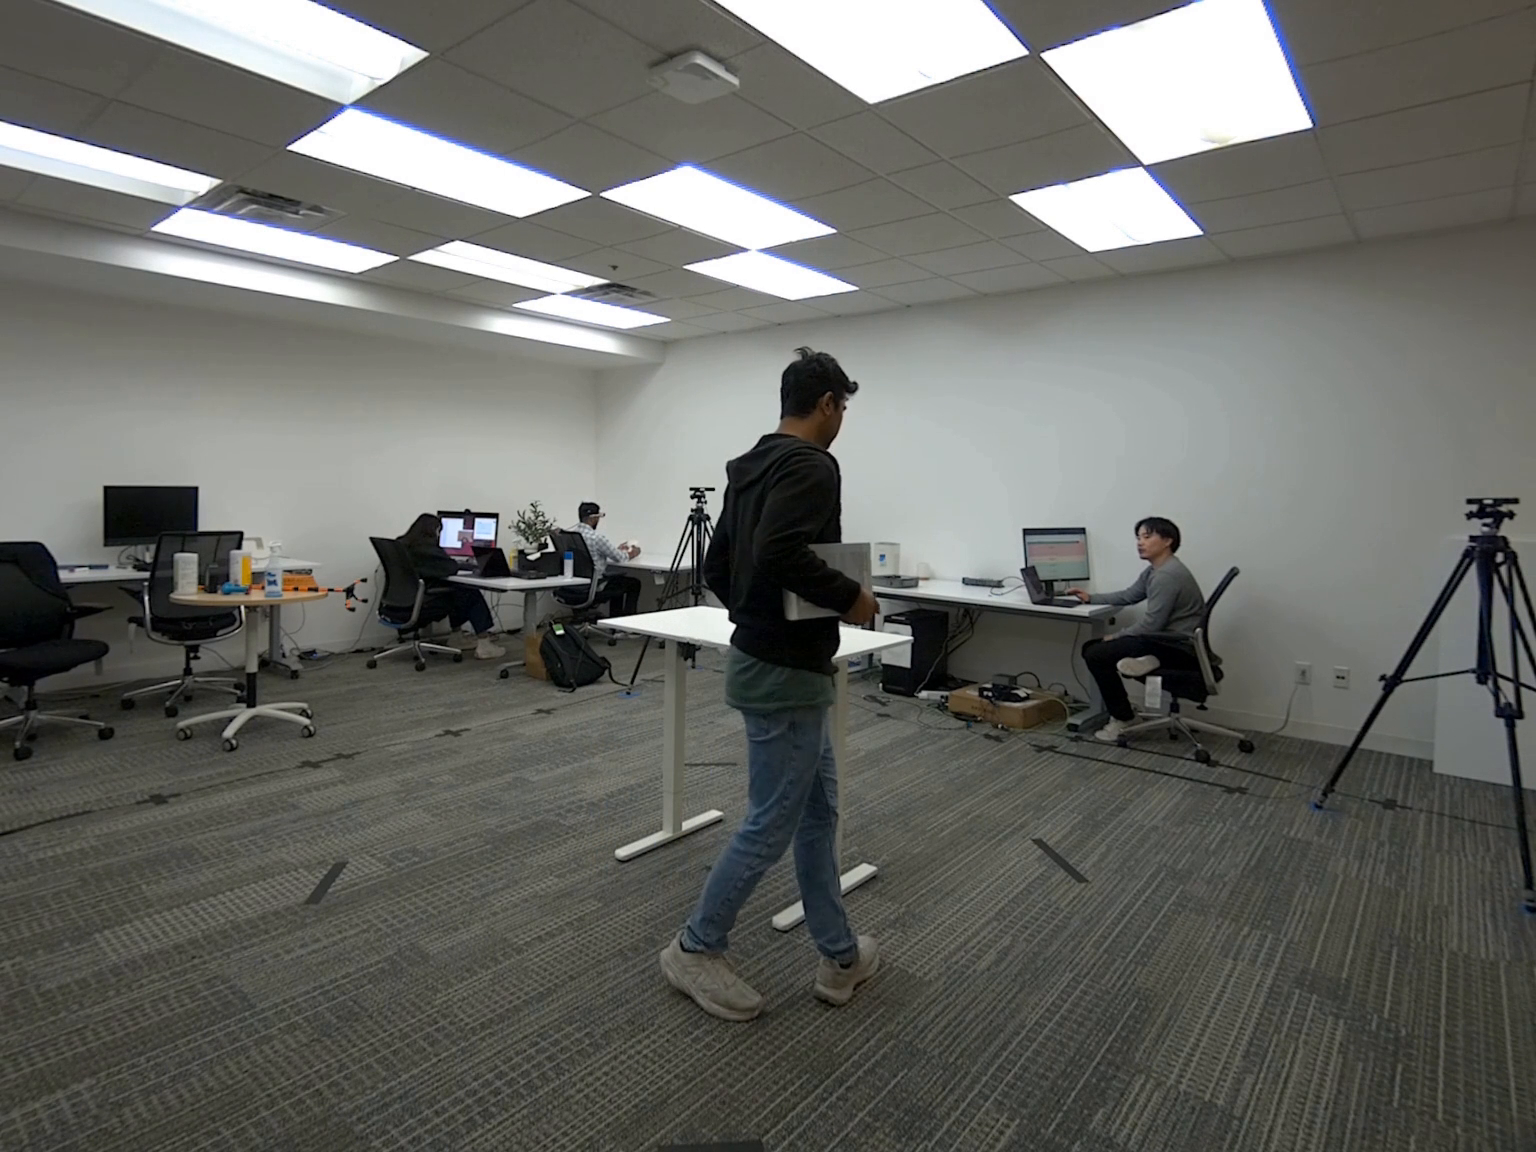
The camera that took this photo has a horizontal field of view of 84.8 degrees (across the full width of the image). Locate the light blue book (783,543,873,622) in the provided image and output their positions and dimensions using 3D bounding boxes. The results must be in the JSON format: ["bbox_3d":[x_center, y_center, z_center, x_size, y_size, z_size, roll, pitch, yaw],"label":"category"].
[{"bbox_3d":[0.152,0.003,2.232,0.254,0.192,0.060,-2,-2,-27],"label":"light blue book"}]
